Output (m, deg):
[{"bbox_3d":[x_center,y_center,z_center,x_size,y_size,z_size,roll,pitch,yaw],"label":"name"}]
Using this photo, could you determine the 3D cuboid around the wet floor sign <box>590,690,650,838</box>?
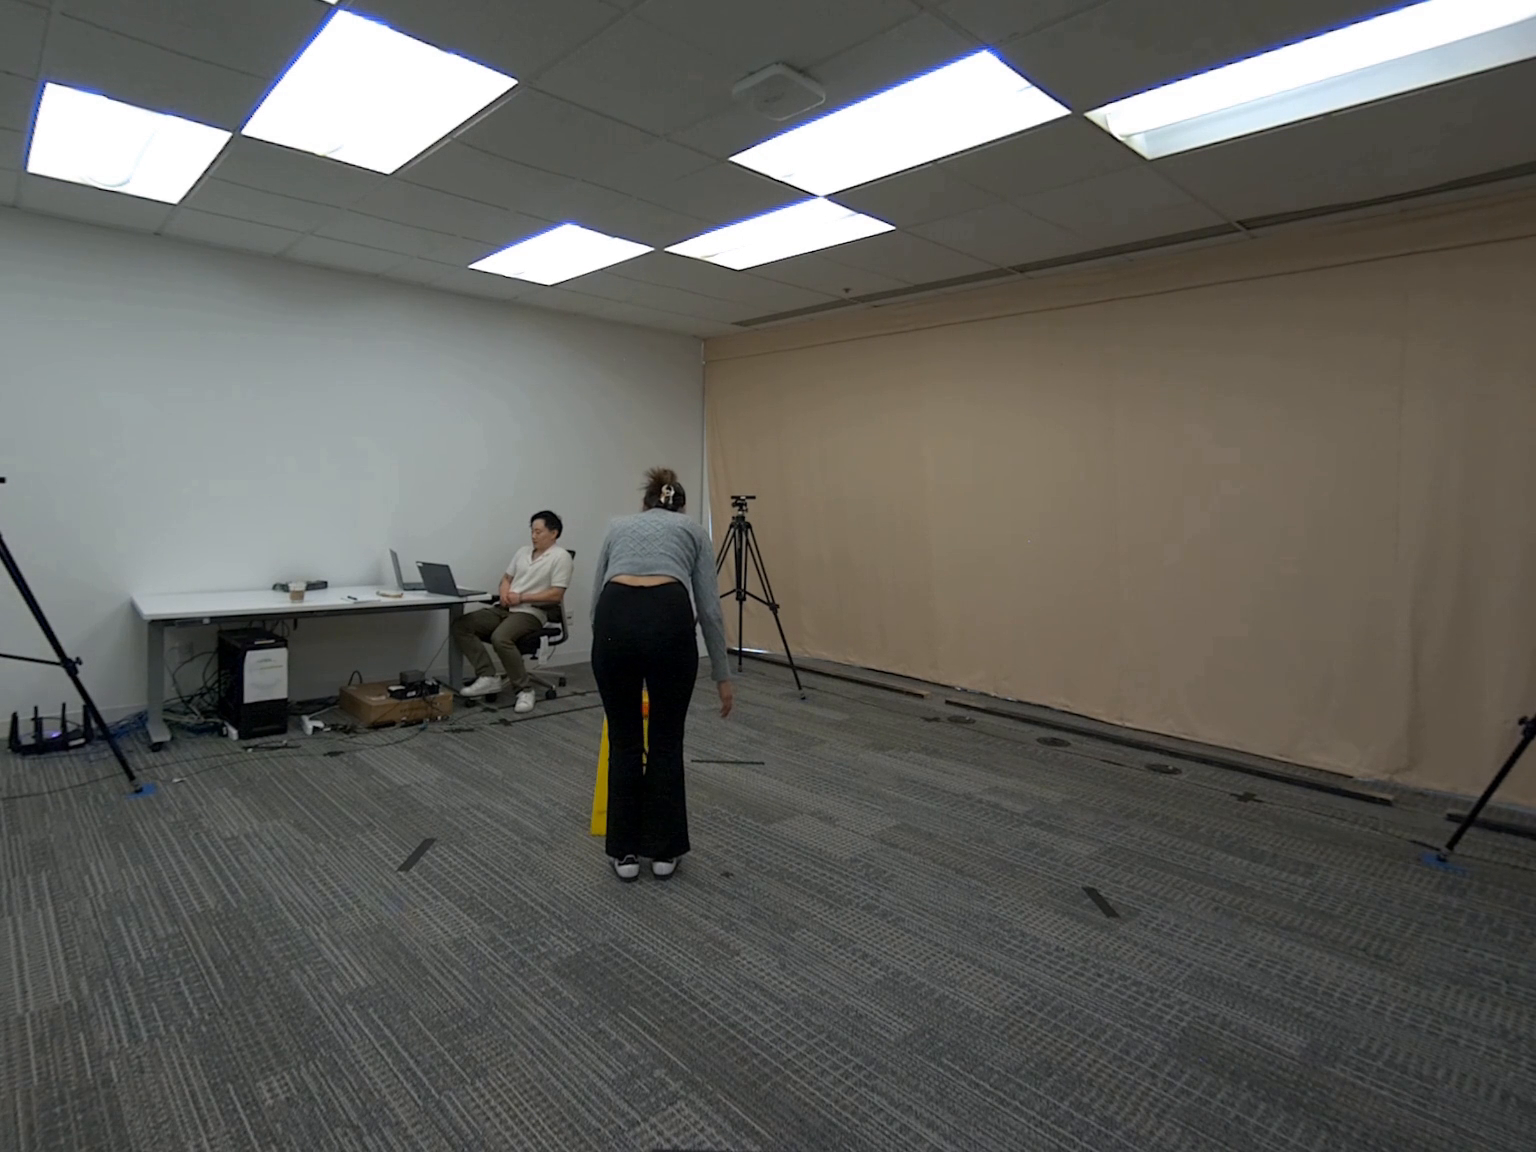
[{"bbox_3d":[-0.566,0.723,3.557,0.282,0.645,0.290,5,3,1],"label":"wet floor sign"}]
